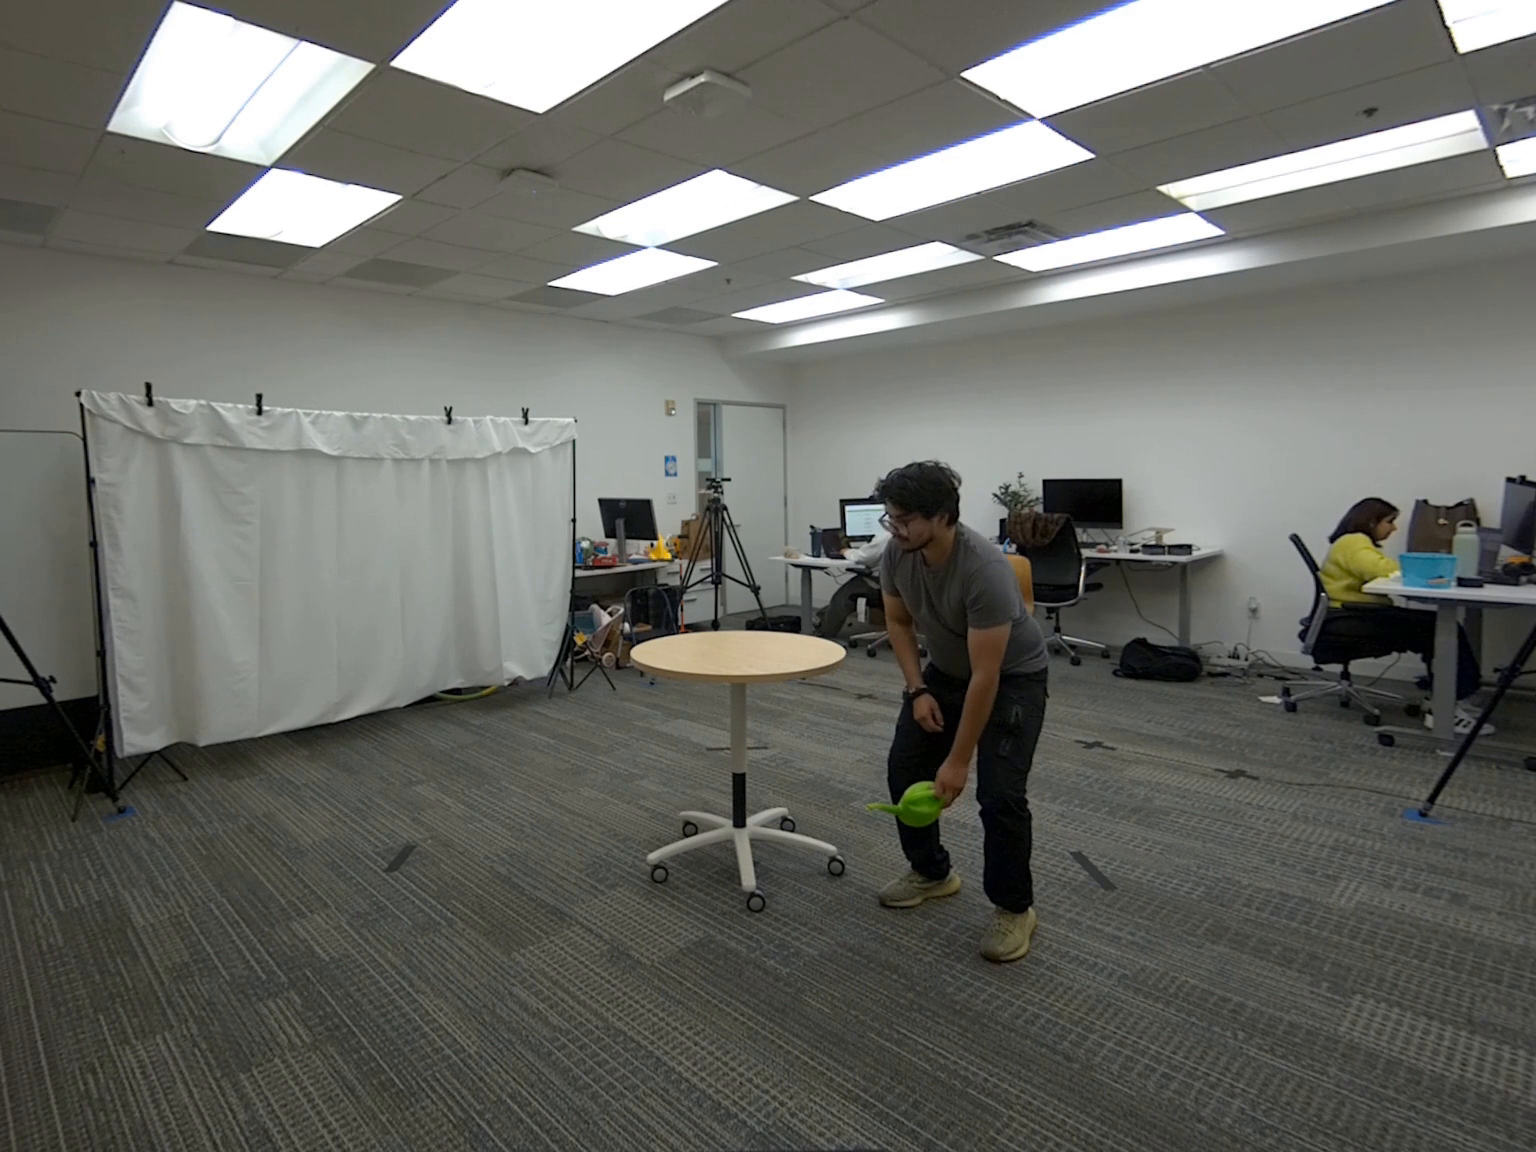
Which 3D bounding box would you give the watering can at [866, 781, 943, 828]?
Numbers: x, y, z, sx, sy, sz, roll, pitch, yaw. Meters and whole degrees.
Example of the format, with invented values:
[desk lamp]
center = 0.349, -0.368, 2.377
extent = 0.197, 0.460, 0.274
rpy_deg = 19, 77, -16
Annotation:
[watering can]
center = 0.424, 0.664, 2.486
extent = 0.278, 0.100, 0.172
rpy_deg = 1, -33, 0
